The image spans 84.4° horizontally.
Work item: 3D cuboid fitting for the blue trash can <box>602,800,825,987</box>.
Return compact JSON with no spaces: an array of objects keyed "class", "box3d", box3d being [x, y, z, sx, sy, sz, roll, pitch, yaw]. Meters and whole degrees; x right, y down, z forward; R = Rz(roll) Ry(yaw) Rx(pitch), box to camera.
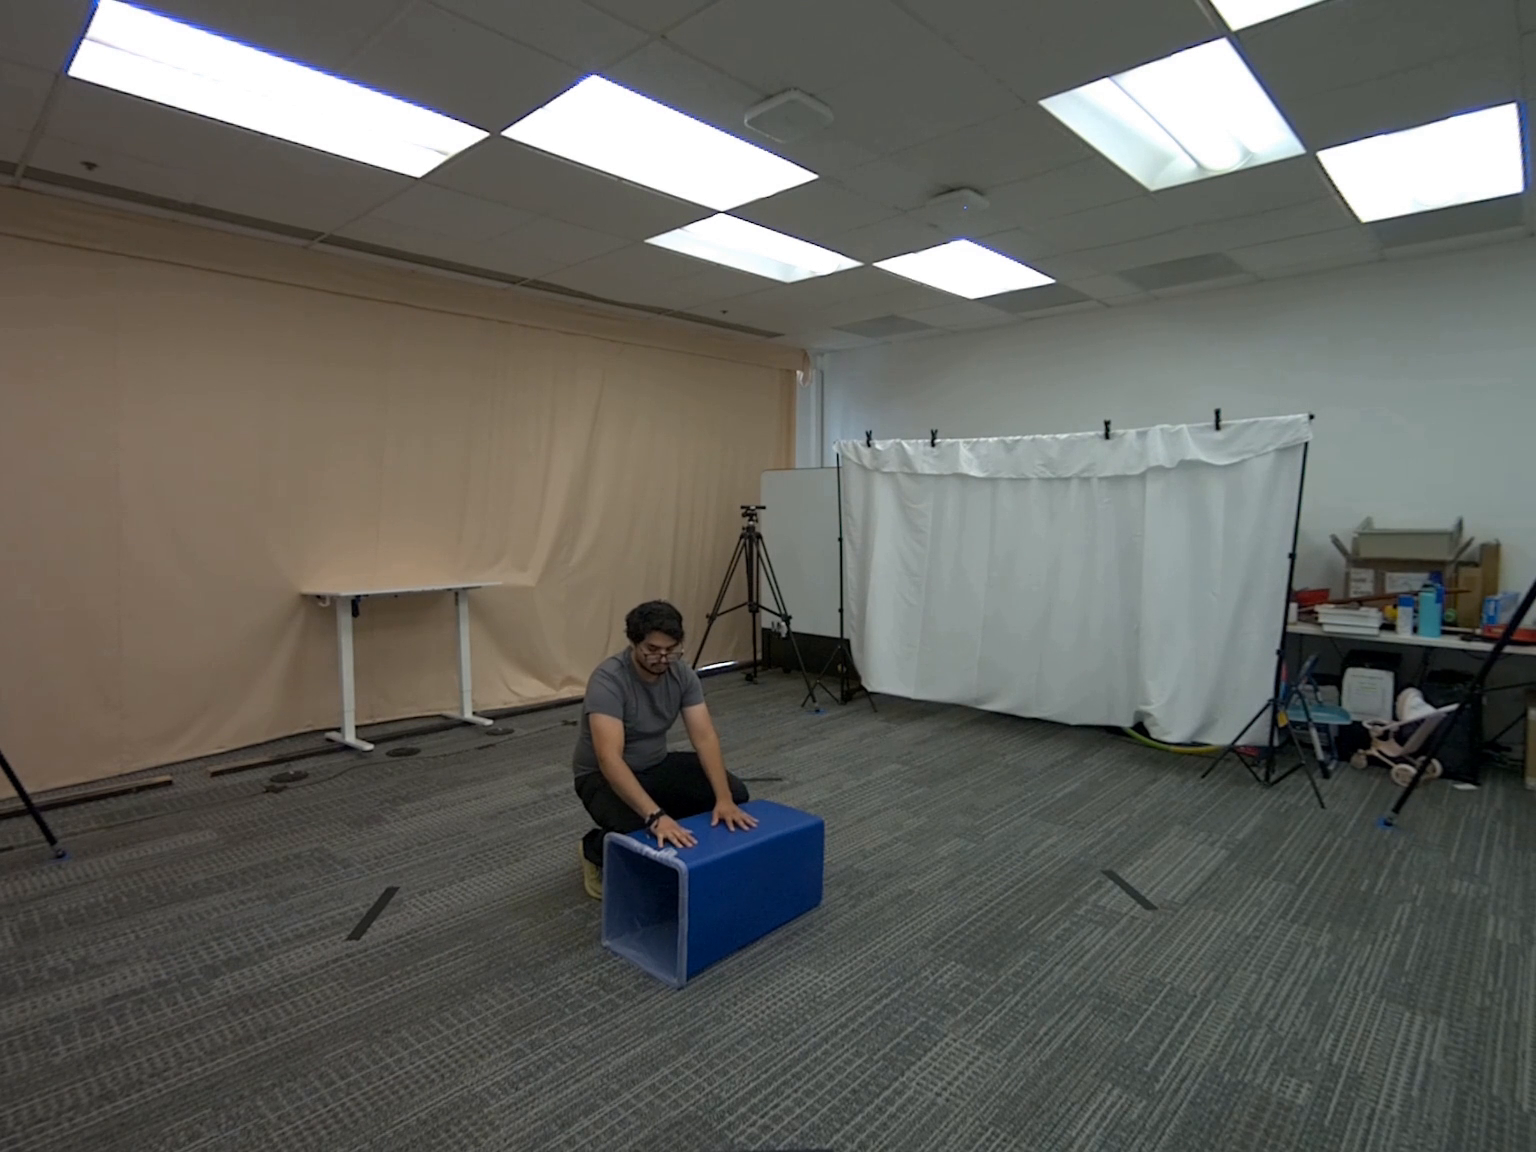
[{"class":"blue trash can","box3d":[-0.140,0.992,2.781,0.386,0.377,0.691,3,3,43]}]
